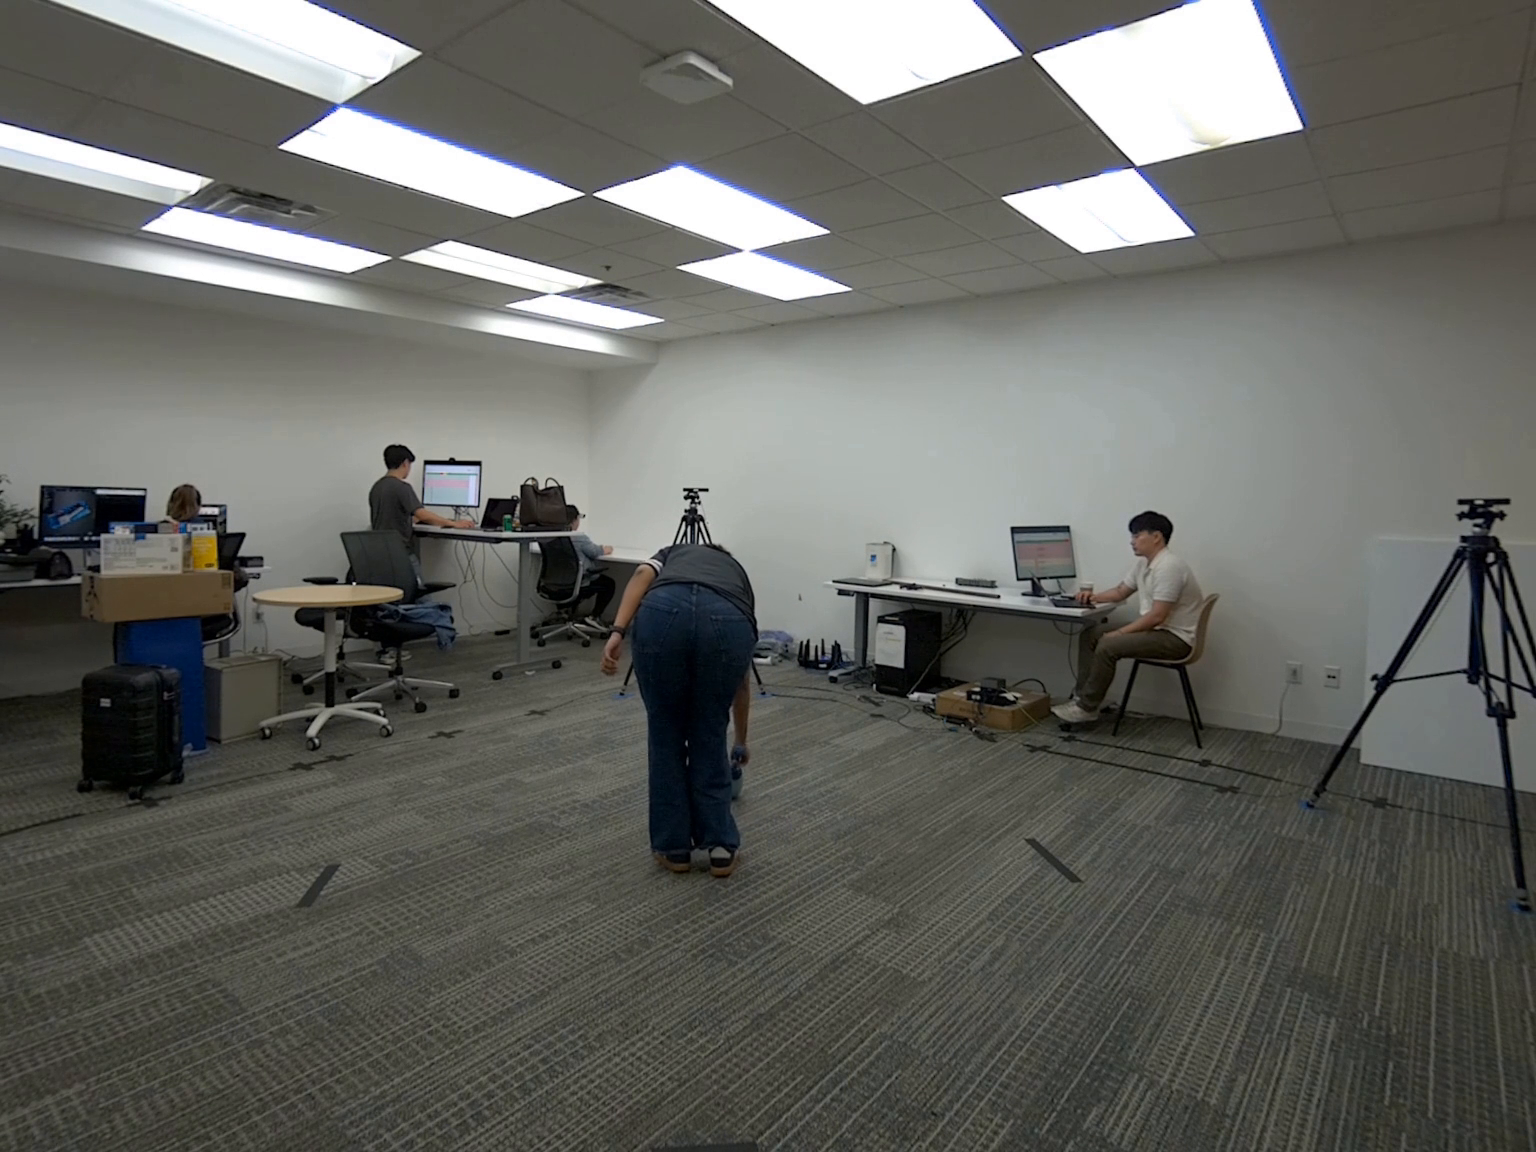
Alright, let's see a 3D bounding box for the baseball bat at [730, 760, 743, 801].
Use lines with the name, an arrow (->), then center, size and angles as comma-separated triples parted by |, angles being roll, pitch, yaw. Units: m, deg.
baseball bat -> -0.154, 0.837, 3.640 | 0.089, 0.091, 0.531 | 2, -30, -4
